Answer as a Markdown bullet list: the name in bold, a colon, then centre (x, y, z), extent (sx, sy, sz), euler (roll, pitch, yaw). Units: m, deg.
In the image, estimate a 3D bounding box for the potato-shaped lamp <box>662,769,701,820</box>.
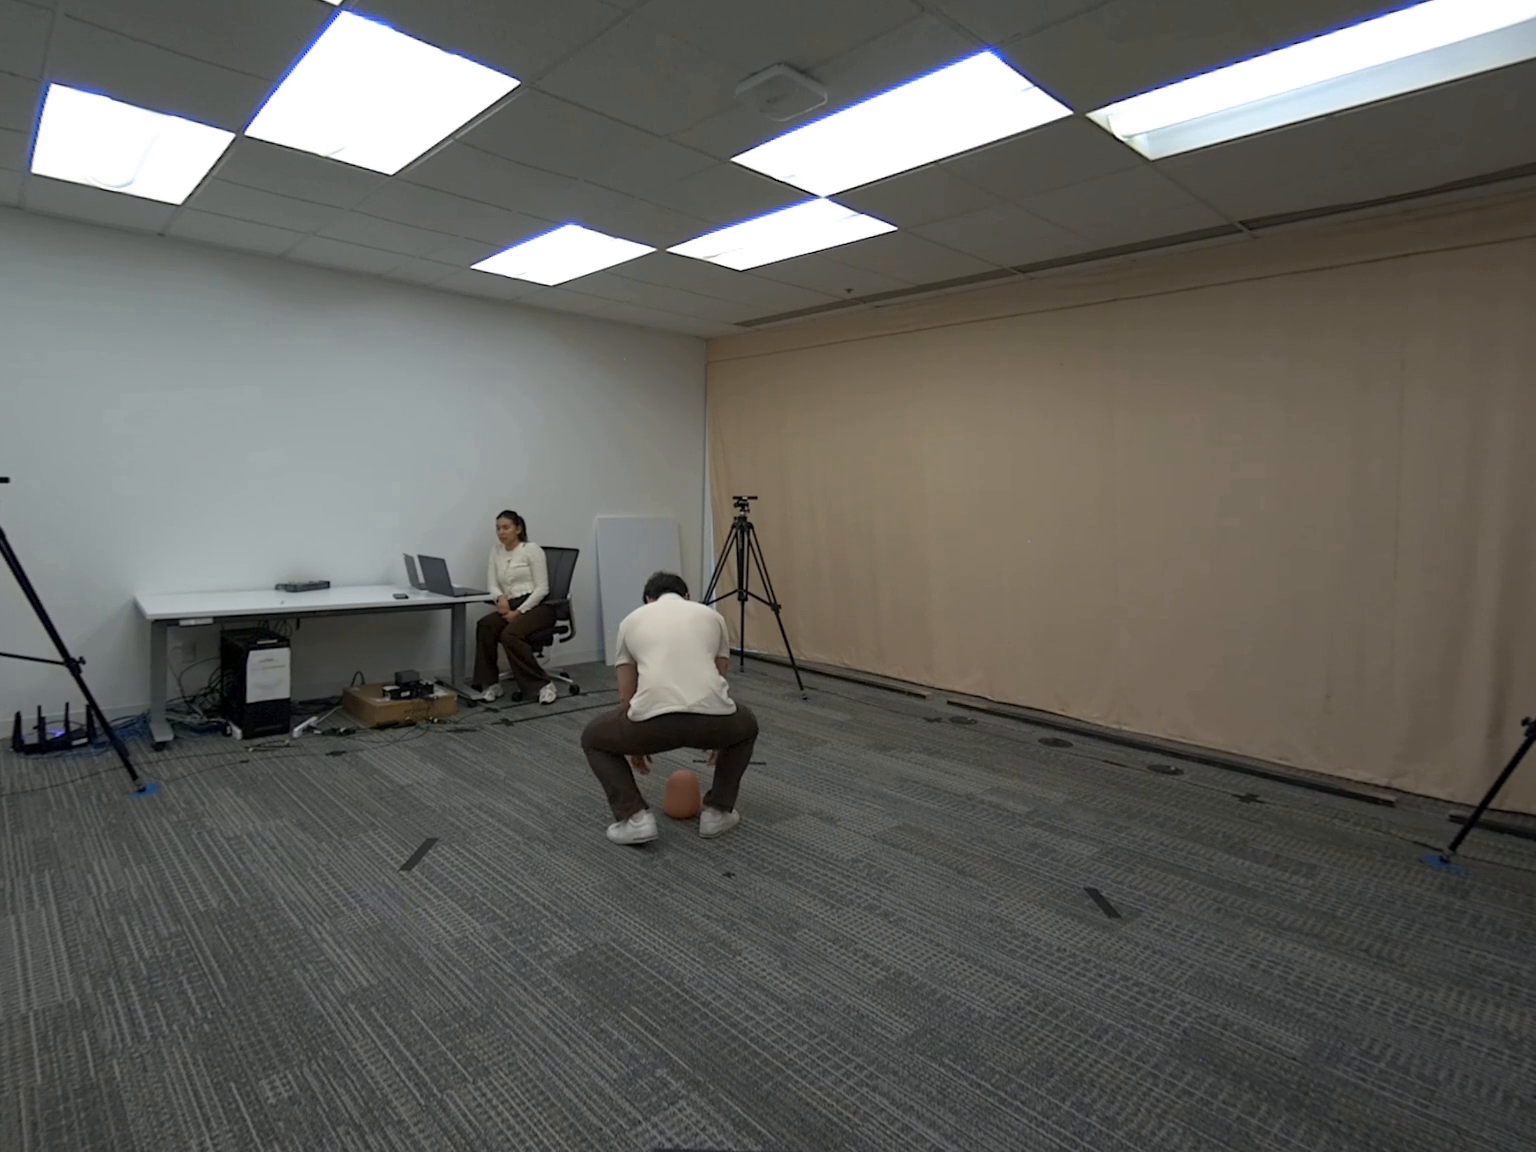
- **potato-shaped lamp**: centre (-0.387, 0.947, 3.676), extent (0.162, 0.197, 0.175), euler (0, 7, -22)
